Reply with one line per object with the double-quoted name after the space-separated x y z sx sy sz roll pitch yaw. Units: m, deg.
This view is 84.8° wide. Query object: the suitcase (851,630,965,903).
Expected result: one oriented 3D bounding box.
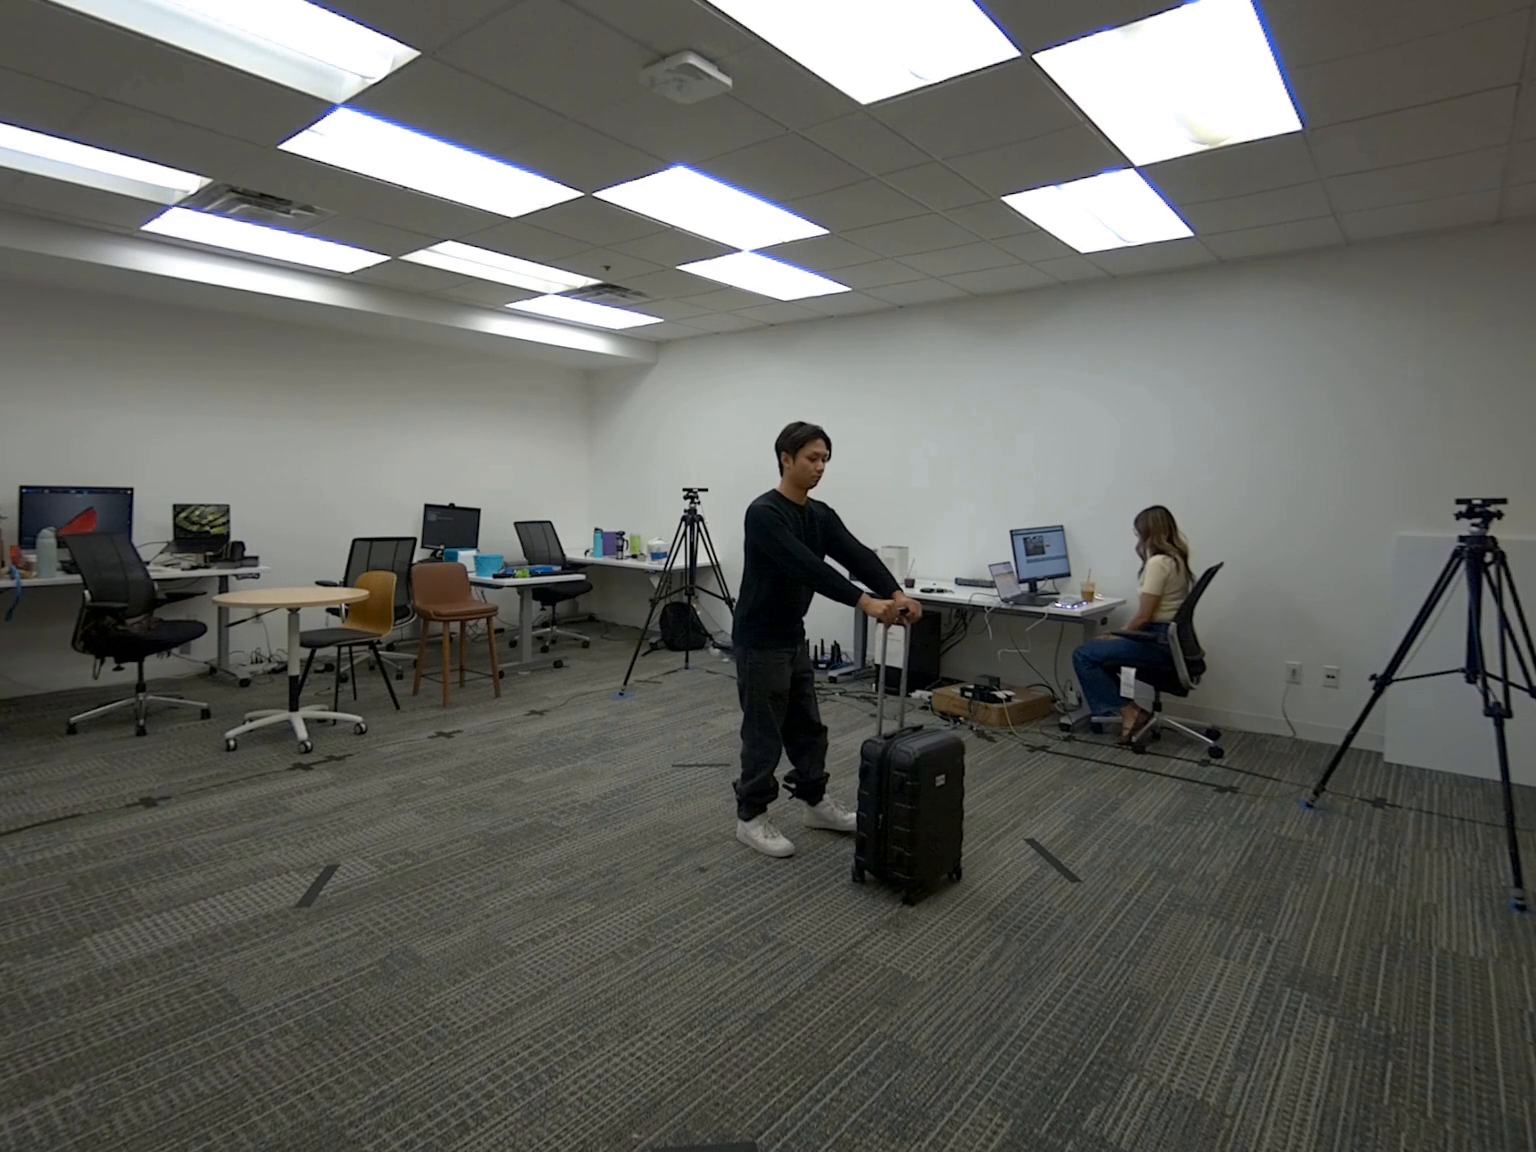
0.517 0.619 3.009 0.372 0.974 0.266 -3 7 -44 "suitcase"
